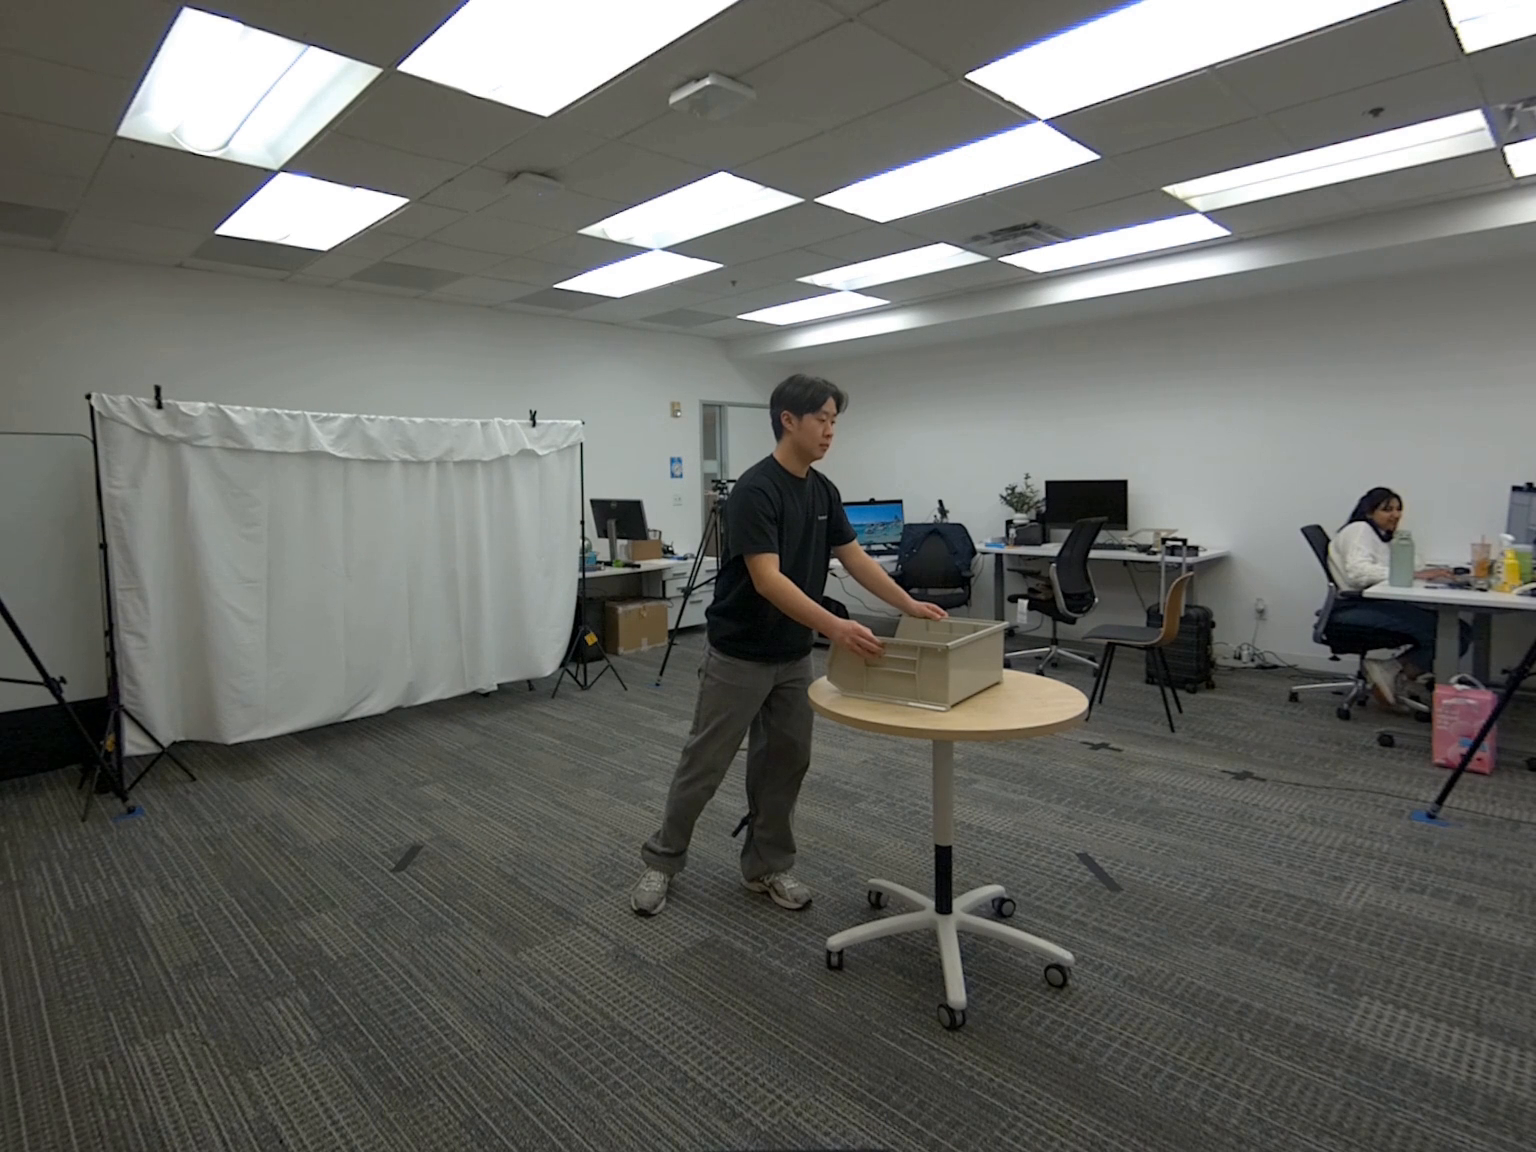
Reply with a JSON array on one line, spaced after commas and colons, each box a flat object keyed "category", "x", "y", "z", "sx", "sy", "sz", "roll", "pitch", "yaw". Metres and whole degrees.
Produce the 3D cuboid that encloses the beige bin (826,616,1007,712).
[{"category": "beige bin", "x": 0.439, "y": 0.240, "z": 2.473, "sx": 0.389, "sy": 0.188, "sz": 0.411, "roll": 5, "pitch": 8, "yaw": 38}]
